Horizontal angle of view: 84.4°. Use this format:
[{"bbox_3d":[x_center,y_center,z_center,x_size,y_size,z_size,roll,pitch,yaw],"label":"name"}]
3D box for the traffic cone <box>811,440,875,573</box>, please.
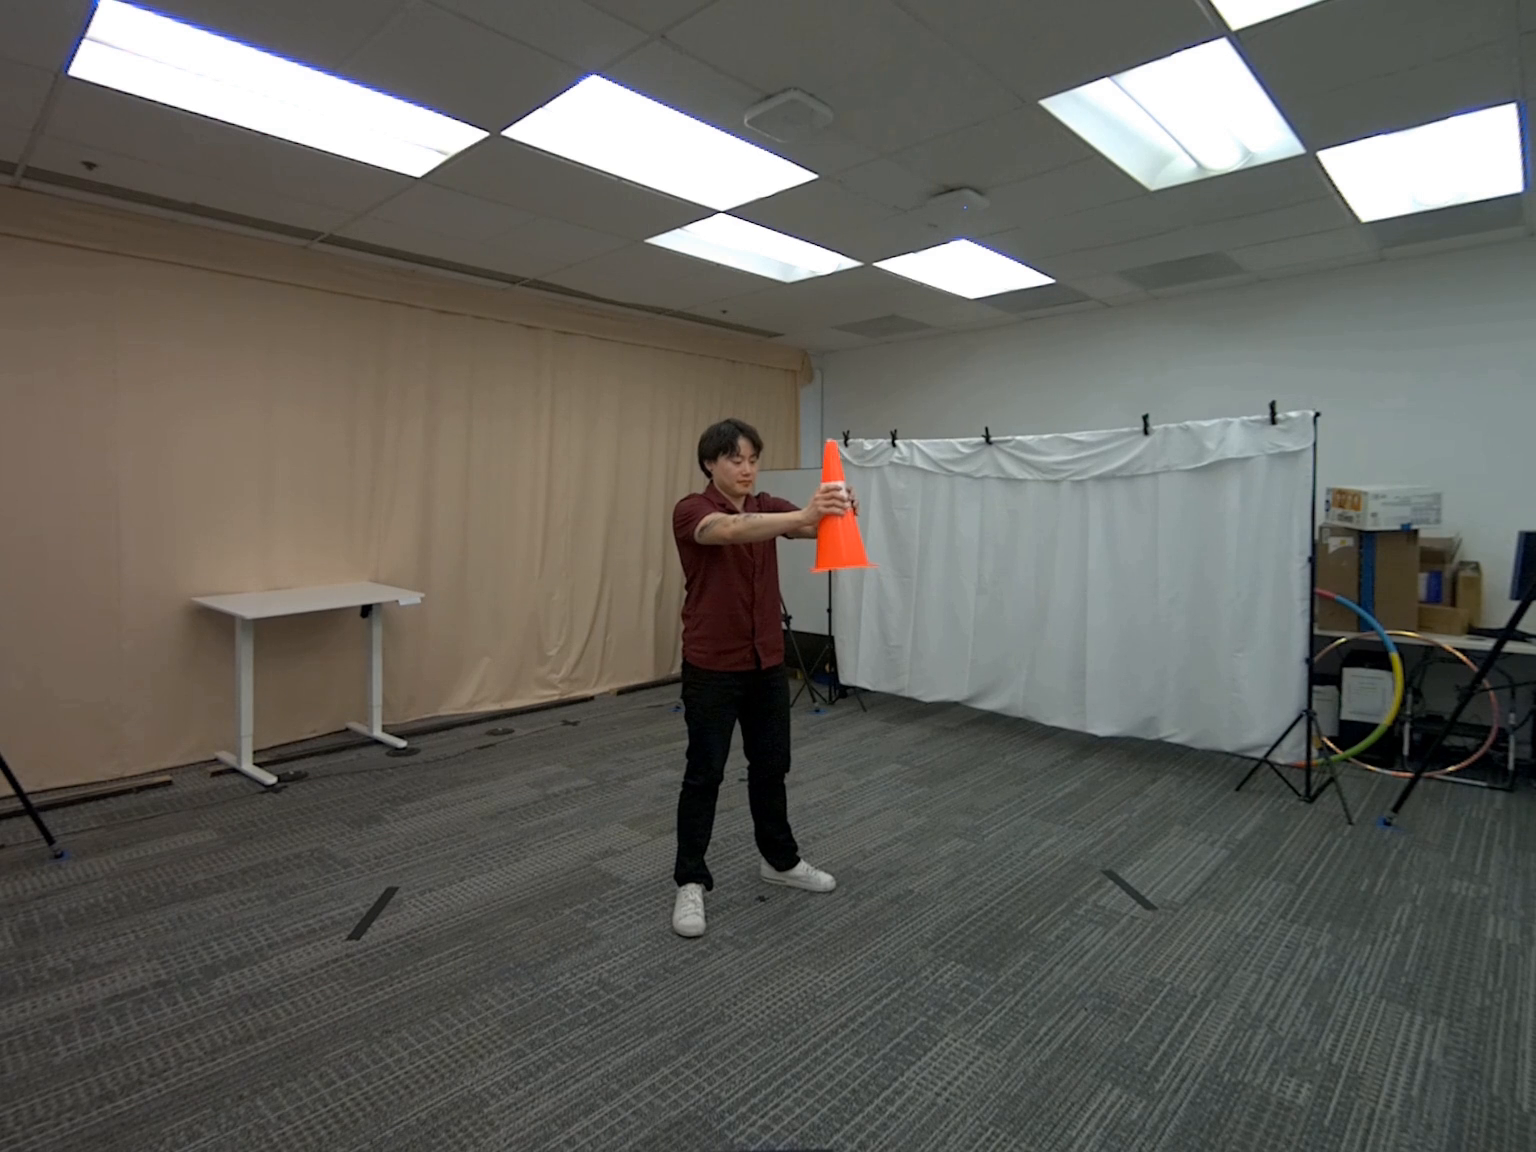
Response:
[{"bbox_3d":[0.213,-0.215,2.530,0.209,0.384,0.199,-3,-1,30],"label":"traffic cone"}]
